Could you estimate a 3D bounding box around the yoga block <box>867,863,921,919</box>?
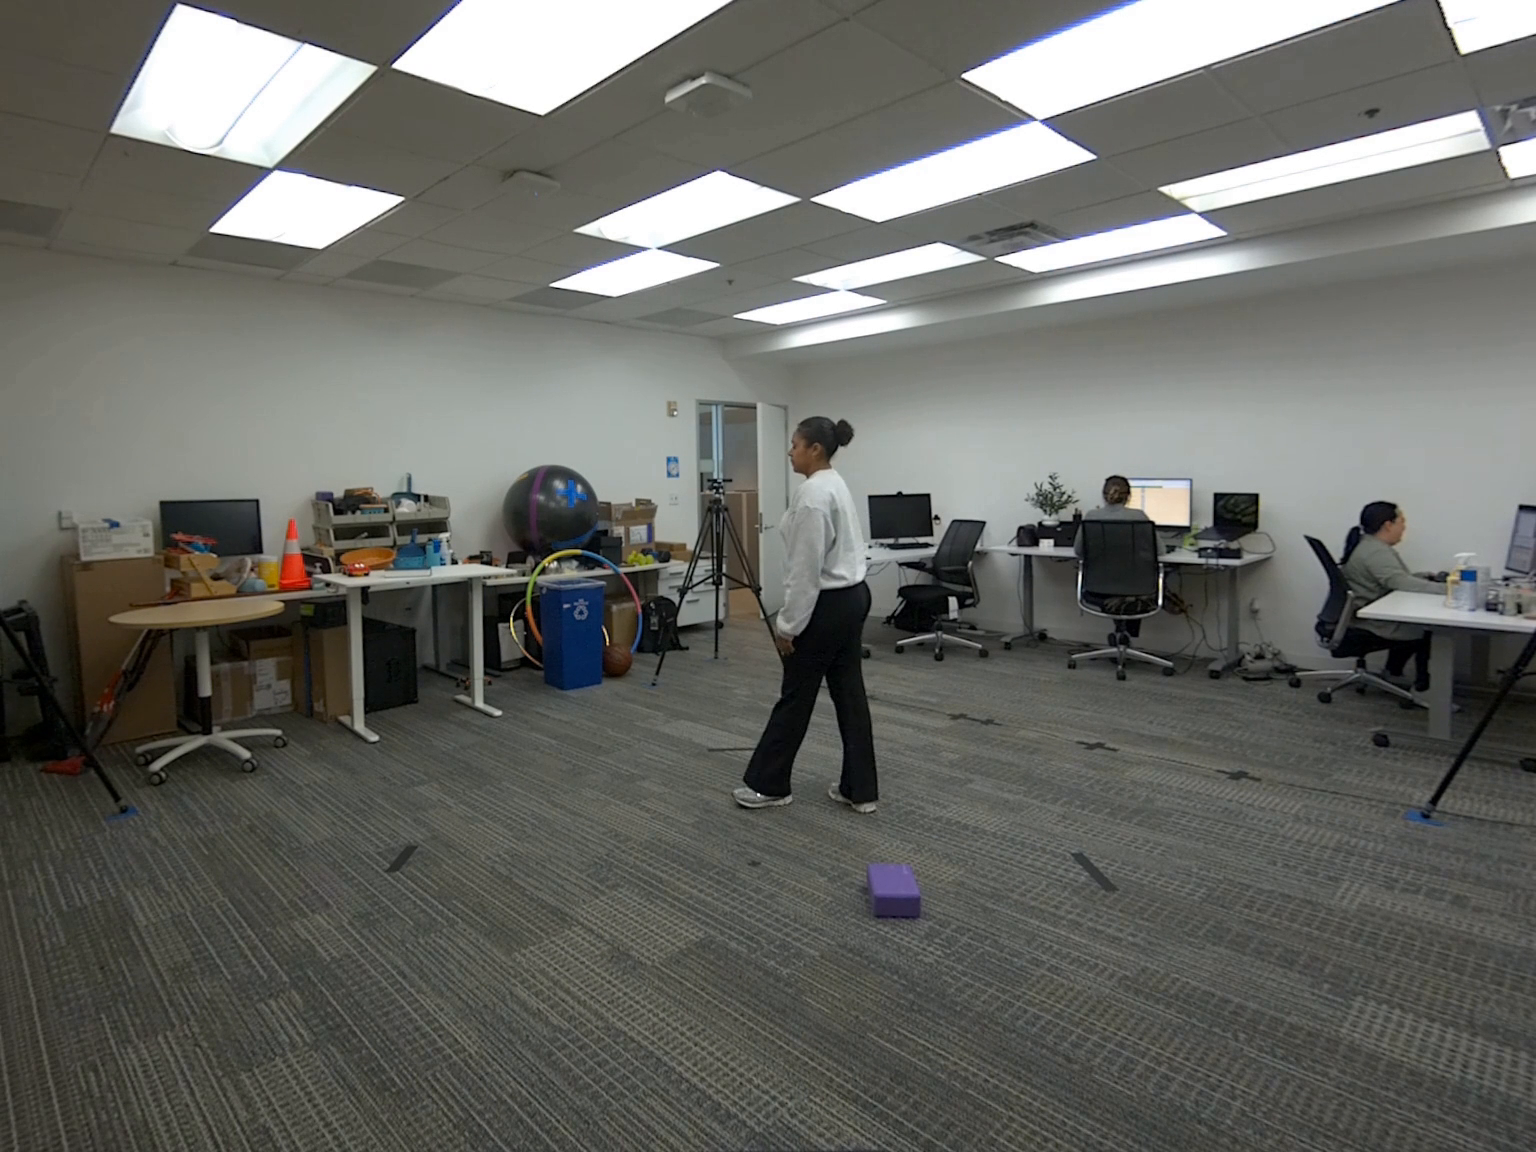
[{"bbox_3d":[0.414,1.030,2.809,0.149,0.076,0.229,-2,5,3],"label":"yoga block"}]
